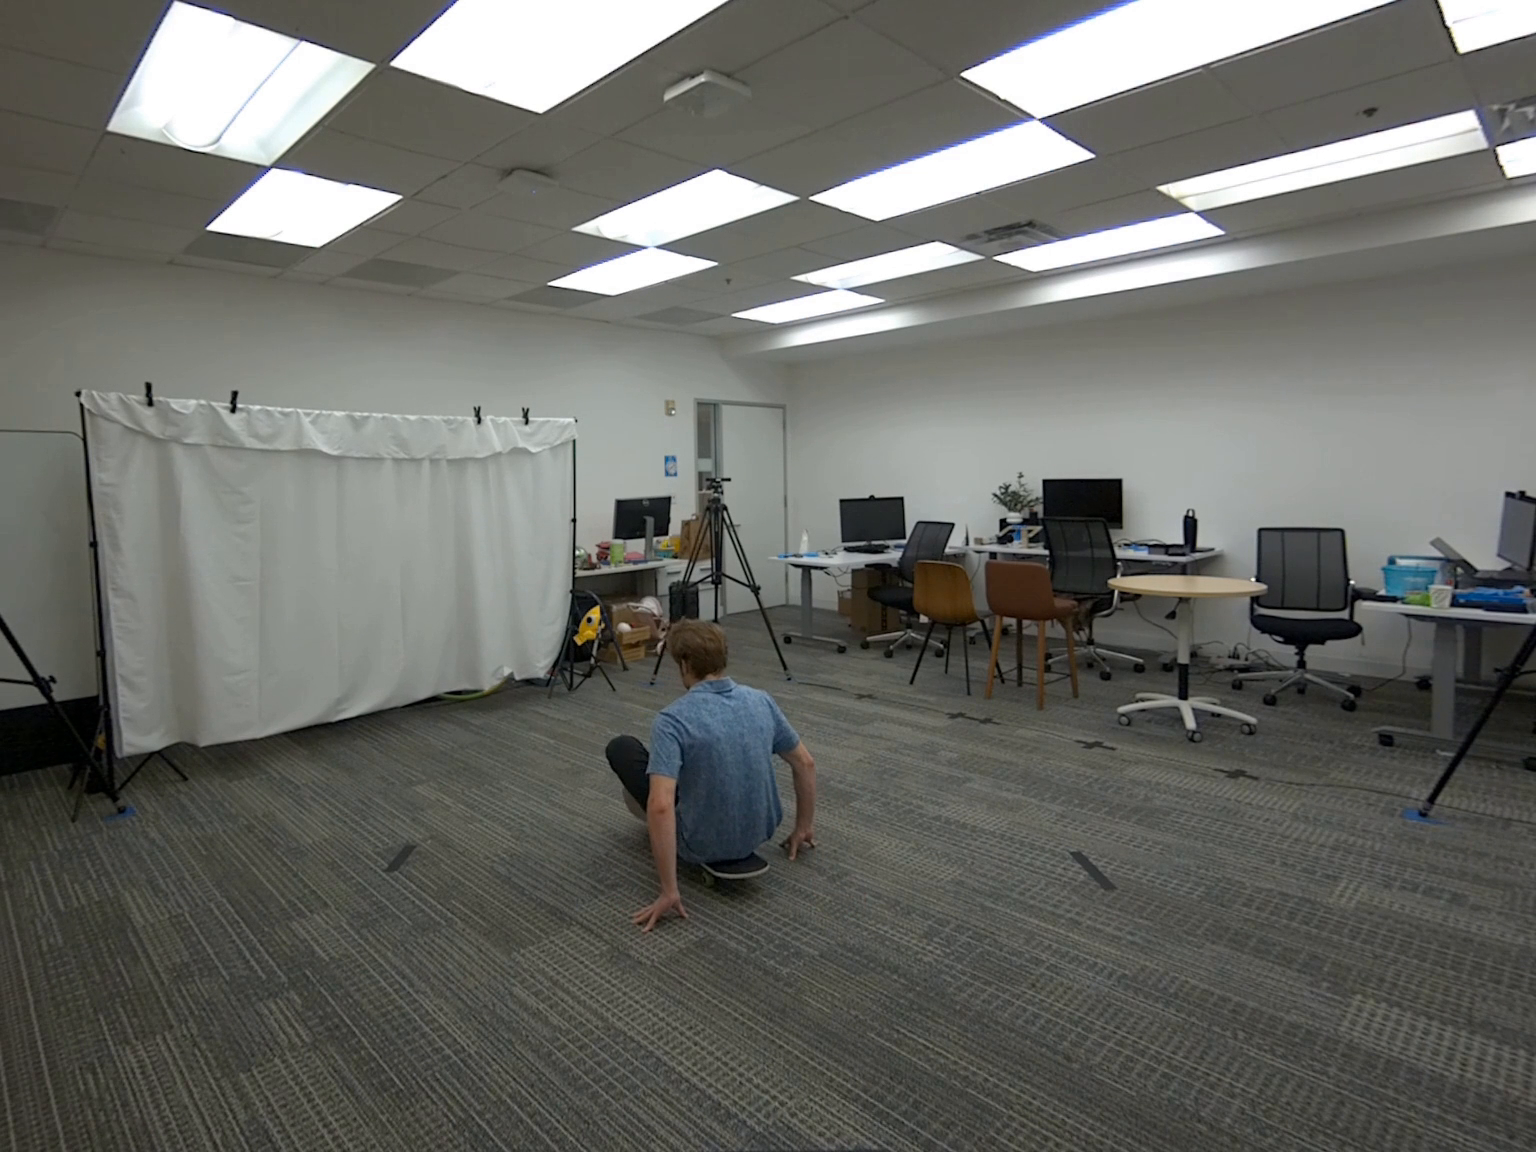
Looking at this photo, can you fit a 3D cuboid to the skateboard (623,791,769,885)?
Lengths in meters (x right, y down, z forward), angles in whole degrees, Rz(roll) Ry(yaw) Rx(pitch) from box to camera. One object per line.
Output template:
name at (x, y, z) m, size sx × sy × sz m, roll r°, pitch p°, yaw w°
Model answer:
skateboard at (-0.264, 0.994, 3.144) m, size 0.189 × 0.109 × 0.809 m, roll -7°, pitch 9°, yaw -34°
